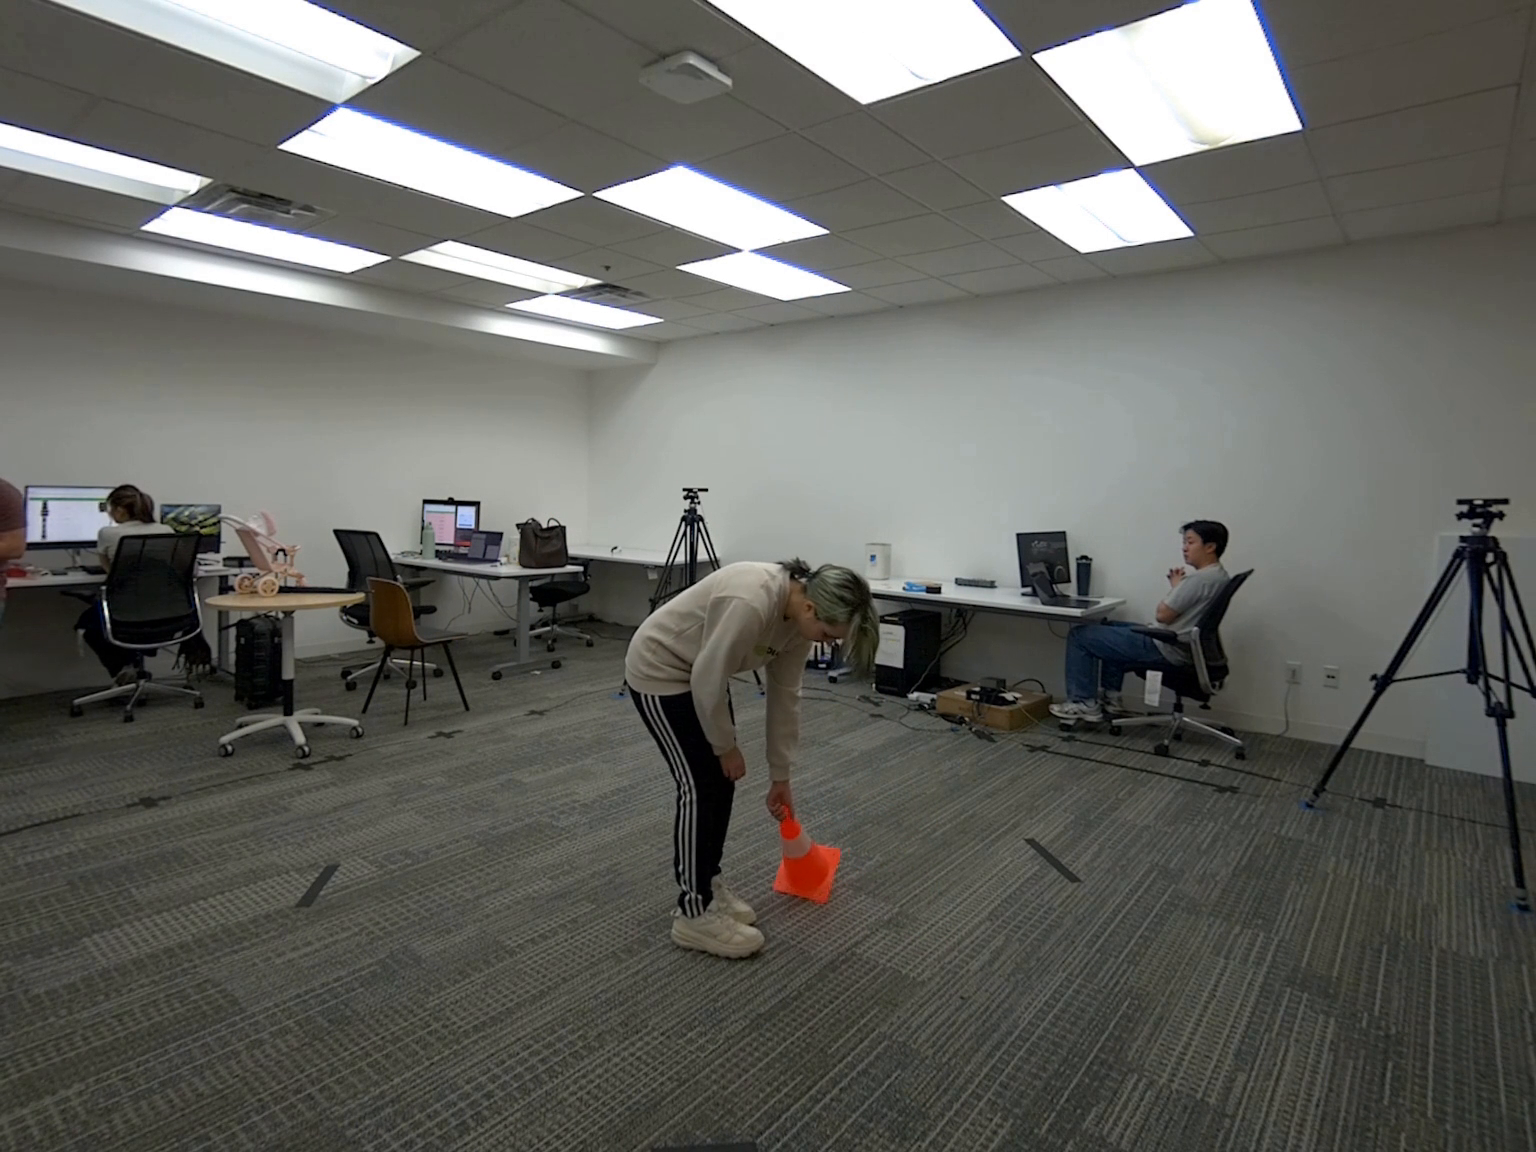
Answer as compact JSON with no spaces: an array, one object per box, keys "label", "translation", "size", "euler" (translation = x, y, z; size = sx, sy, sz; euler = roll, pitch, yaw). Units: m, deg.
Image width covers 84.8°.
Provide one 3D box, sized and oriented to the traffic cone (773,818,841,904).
[{"label":"traffic cone","translation":[0.088,0.892,2.860],"size":[0.210,0.370,0.205],"euler":[4,44,23]}]
